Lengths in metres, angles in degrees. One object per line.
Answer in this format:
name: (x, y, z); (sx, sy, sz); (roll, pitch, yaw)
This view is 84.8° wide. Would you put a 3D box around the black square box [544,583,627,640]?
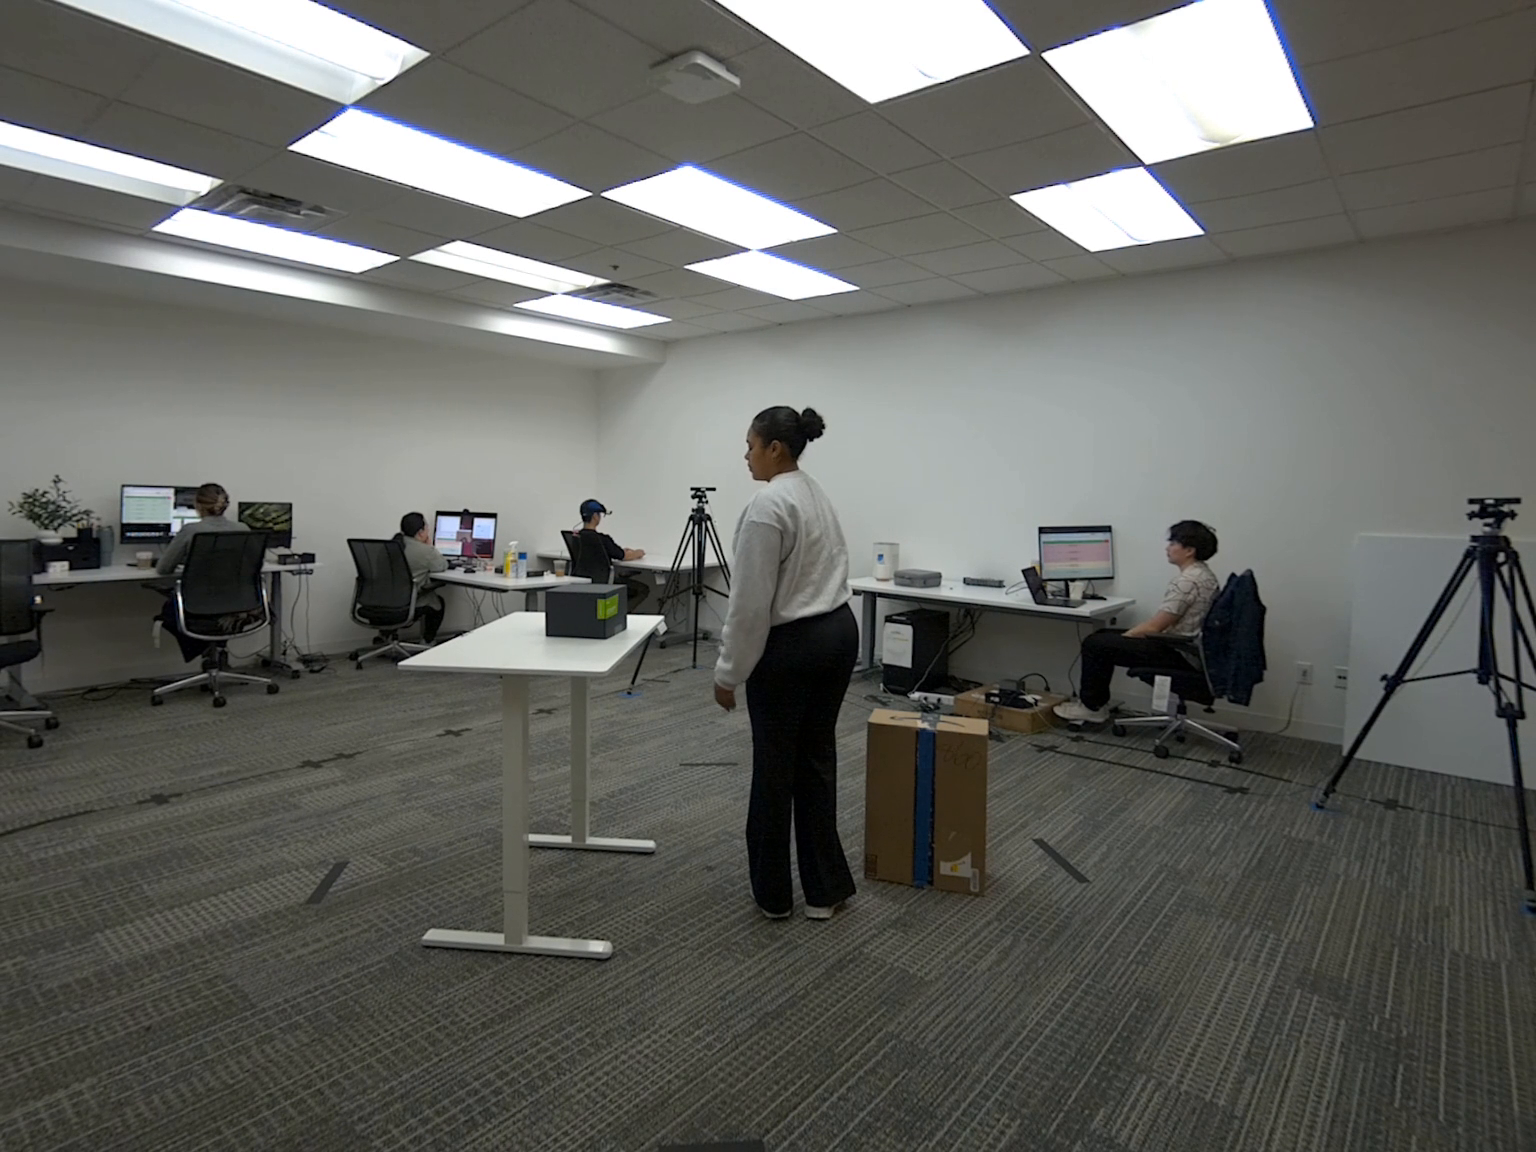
black square box: (-0.629, 0.116, 2.927); (0.219, 0.155, 0.226); (1, 6, 9)
